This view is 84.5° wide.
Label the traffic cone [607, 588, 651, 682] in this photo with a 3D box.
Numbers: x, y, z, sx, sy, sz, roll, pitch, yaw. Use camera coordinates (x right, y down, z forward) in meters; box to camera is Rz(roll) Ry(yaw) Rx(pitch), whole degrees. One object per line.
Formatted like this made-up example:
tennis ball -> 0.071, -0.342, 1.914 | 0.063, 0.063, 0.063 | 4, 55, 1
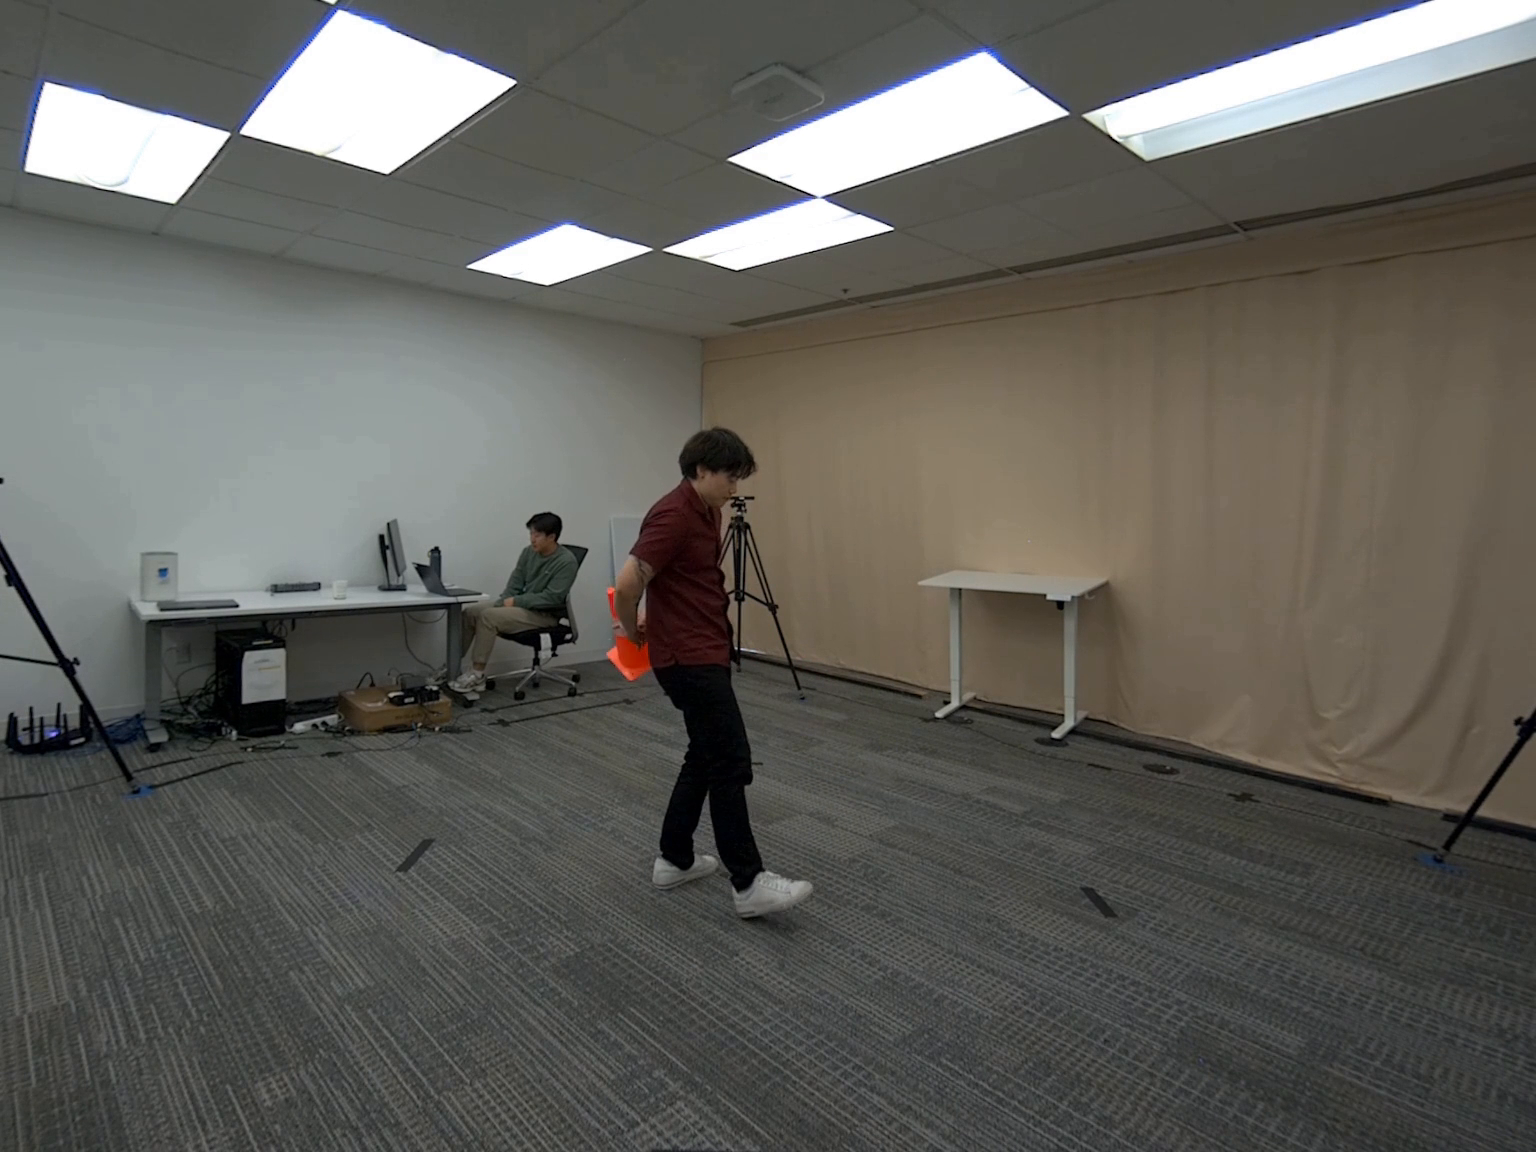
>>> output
traffic cone -> -0.547, 0.178, 3.200 | 0.202, 0.373, 0.212 | -30, 46, -17
